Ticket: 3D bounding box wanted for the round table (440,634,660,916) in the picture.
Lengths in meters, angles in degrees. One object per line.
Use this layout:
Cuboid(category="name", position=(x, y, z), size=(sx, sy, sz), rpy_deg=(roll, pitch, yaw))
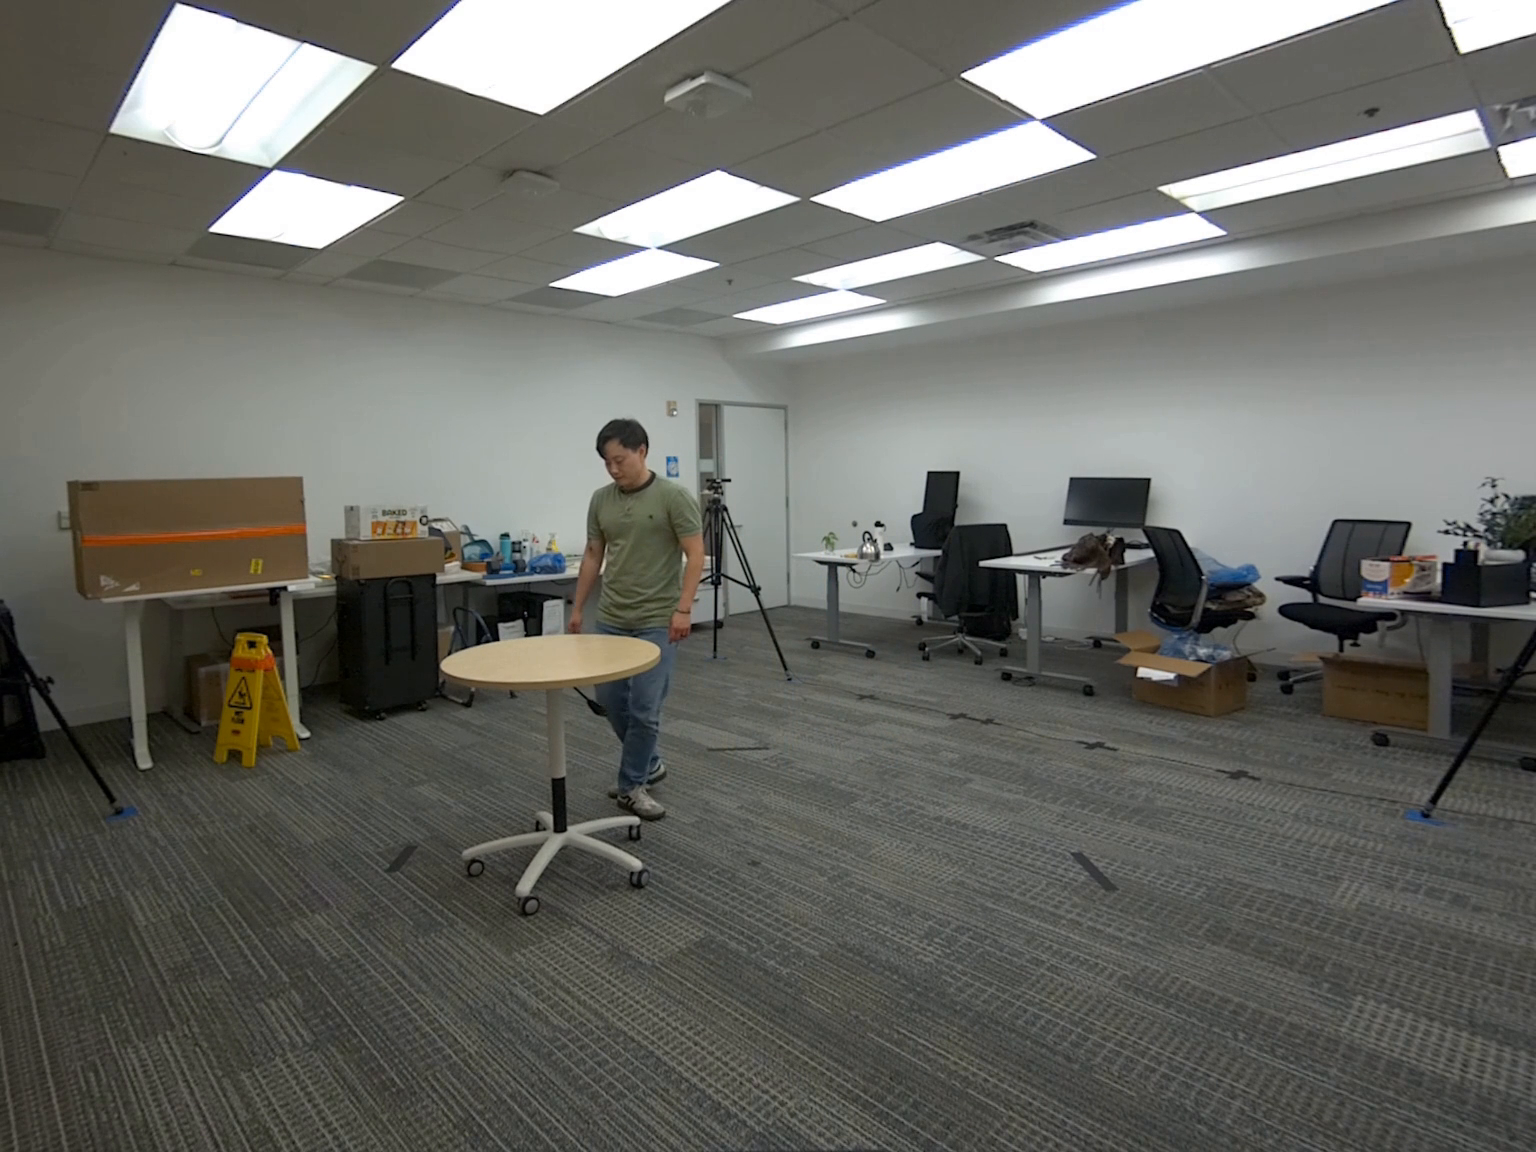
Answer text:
Cuboid(category="round table", position=(-0.757, 0.675, 3.074), size=(0.763, 0.791, 0.768), rpy_deg=(-2, 5, -2))
